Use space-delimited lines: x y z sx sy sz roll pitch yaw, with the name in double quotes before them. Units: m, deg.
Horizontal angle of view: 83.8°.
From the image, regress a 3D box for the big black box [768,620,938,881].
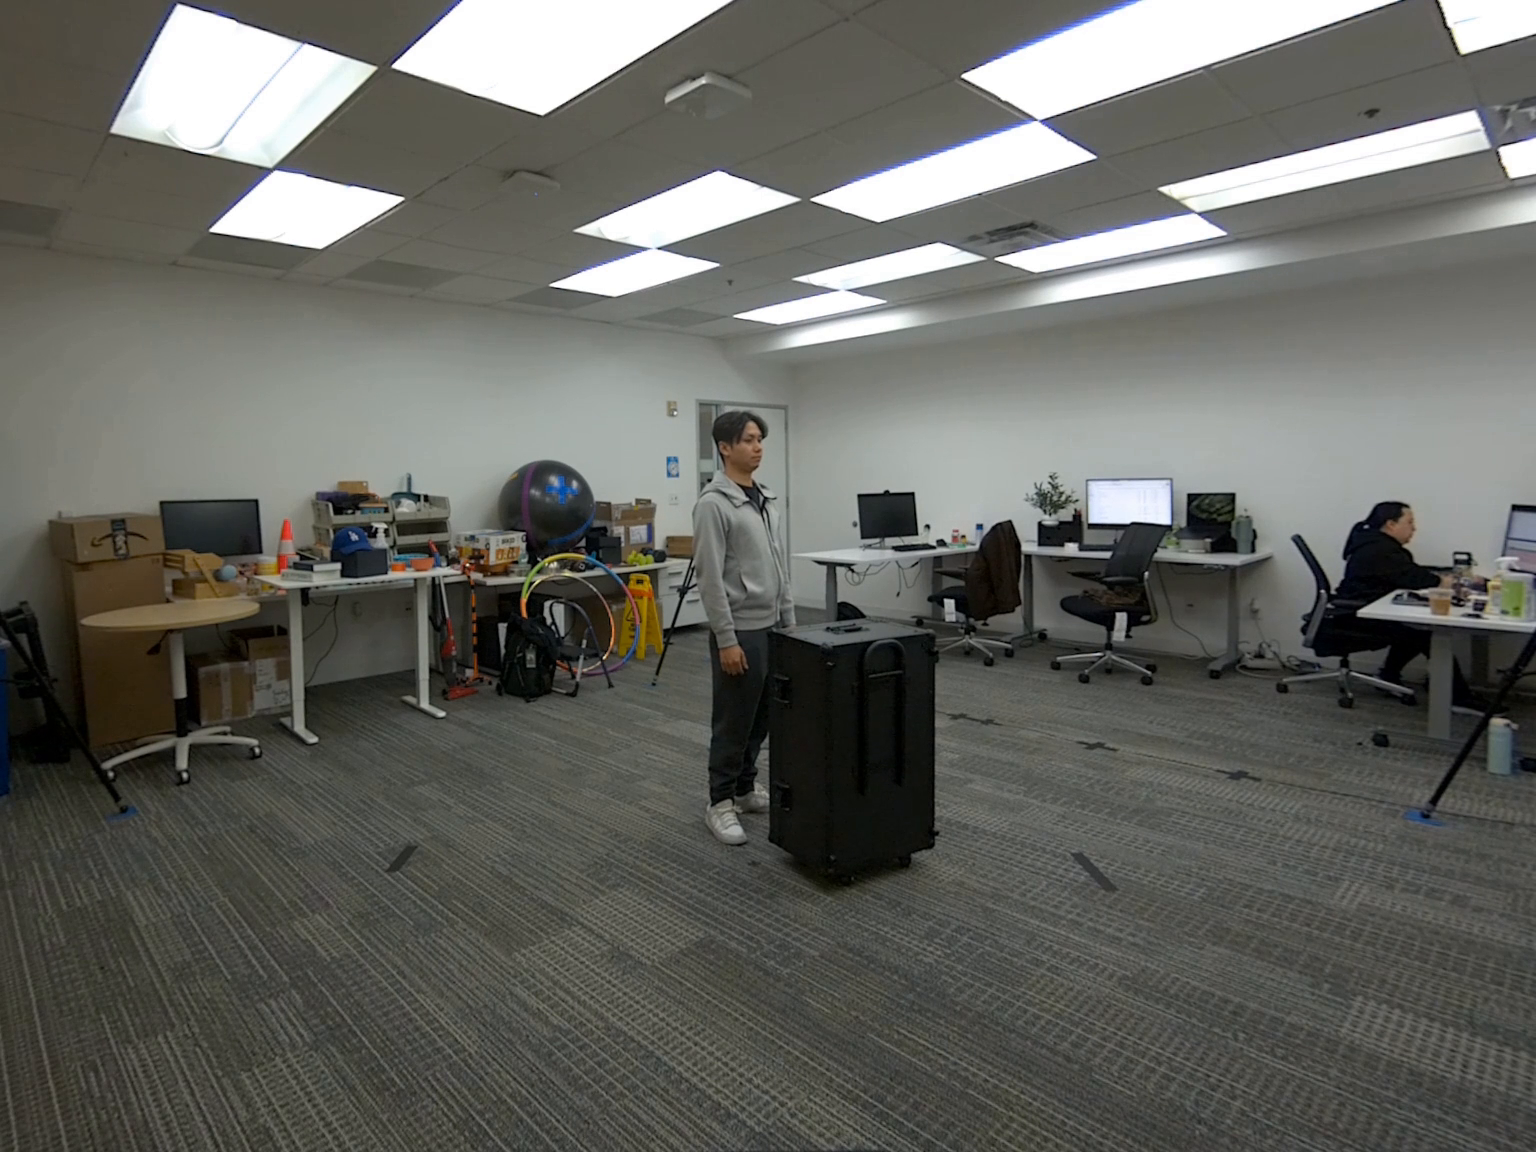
"big black box" 0.313 0.622 3.057 0.509 0.857 0.407 -3 6 -30
